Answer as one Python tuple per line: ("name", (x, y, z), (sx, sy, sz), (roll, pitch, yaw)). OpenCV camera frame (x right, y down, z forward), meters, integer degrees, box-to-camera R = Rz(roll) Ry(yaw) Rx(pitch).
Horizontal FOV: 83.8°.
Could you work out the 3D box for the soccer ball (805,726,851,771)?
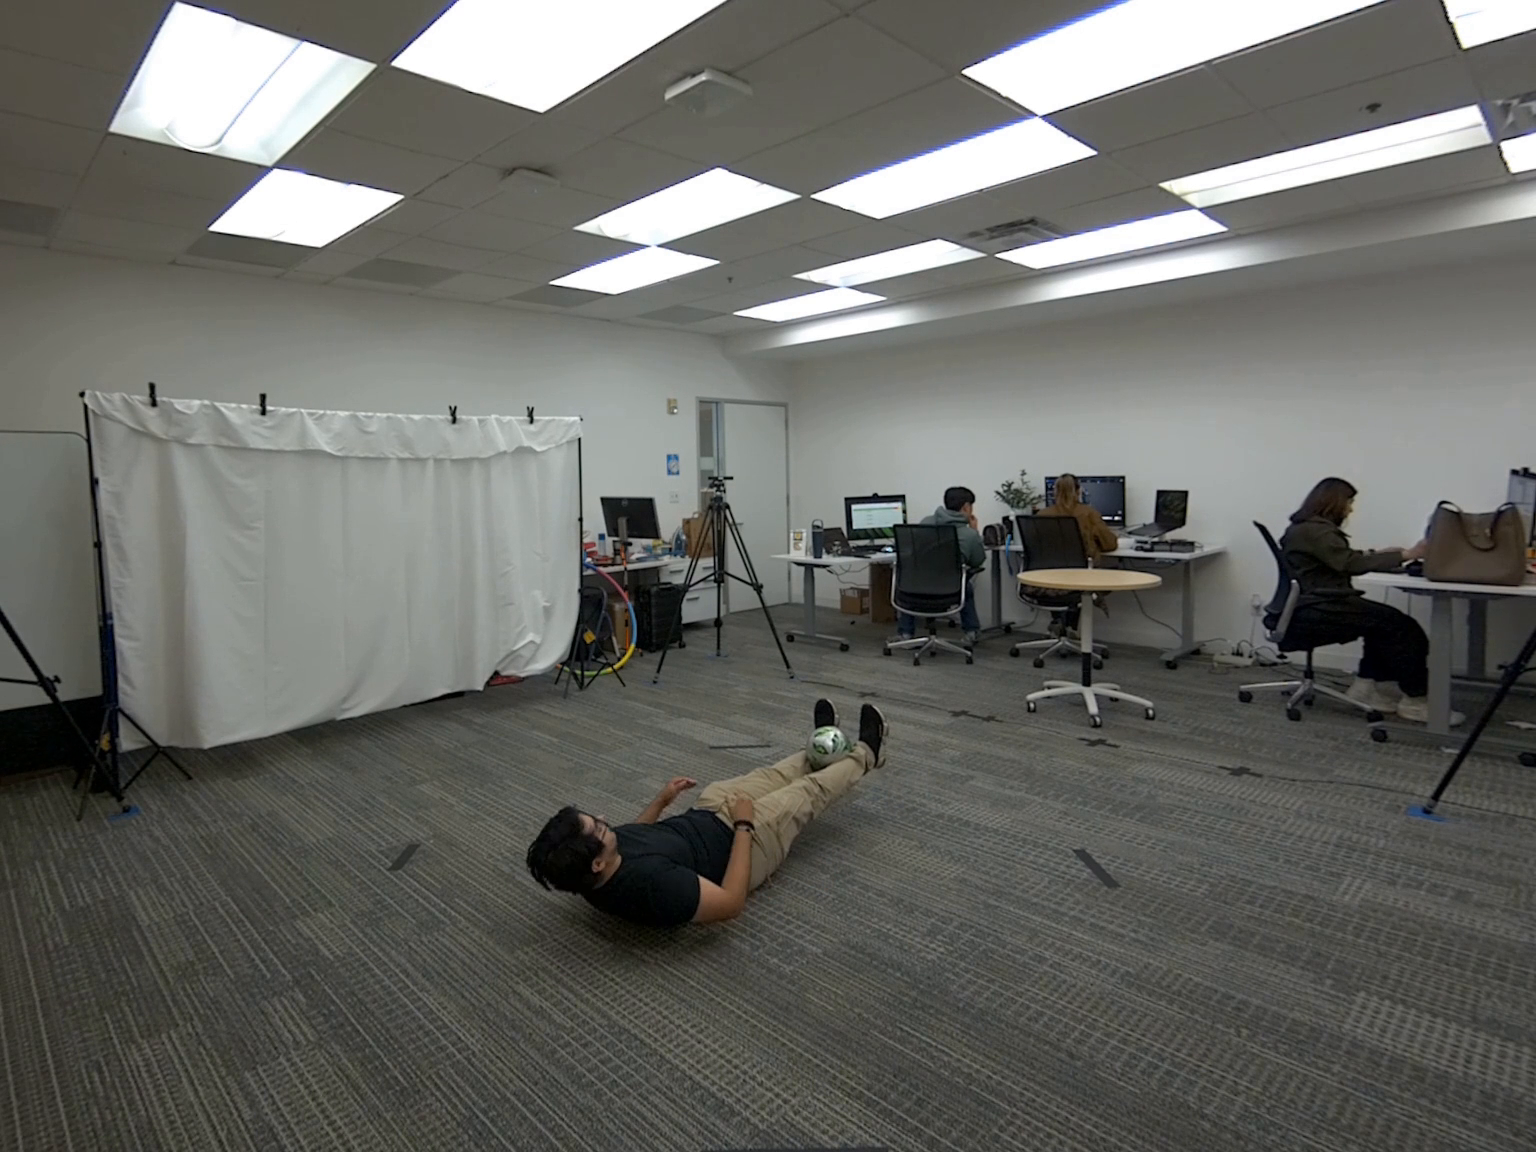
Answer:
("soccer ball", (0.250, 0.709, 3.472), (0.187, 0.187, 0.188), (-1, 4, -2))
